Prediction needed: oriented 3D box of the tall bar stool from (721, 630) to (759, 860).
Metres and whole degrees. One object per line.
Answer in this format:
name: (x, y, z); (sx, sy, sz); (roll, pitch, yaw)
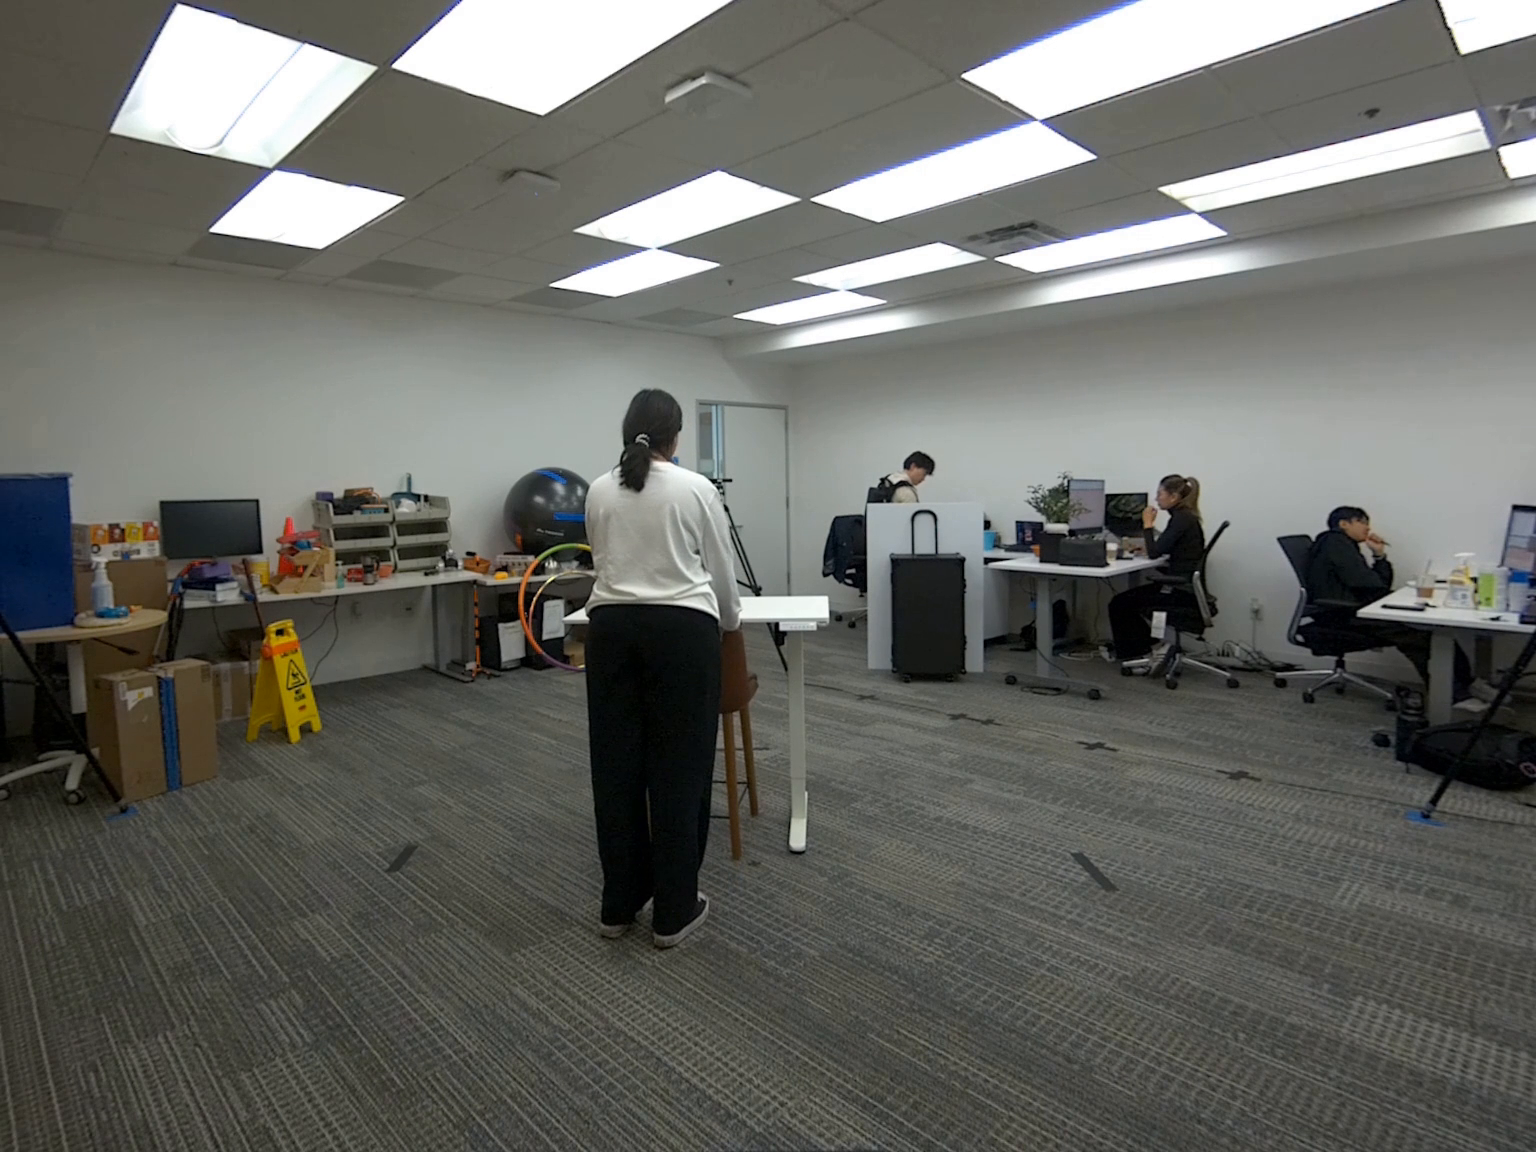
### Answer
tall bar stool: (-0.280, 0.590, 3.354); (0.461, 0.885, 0.466); (0, 6, 9)
